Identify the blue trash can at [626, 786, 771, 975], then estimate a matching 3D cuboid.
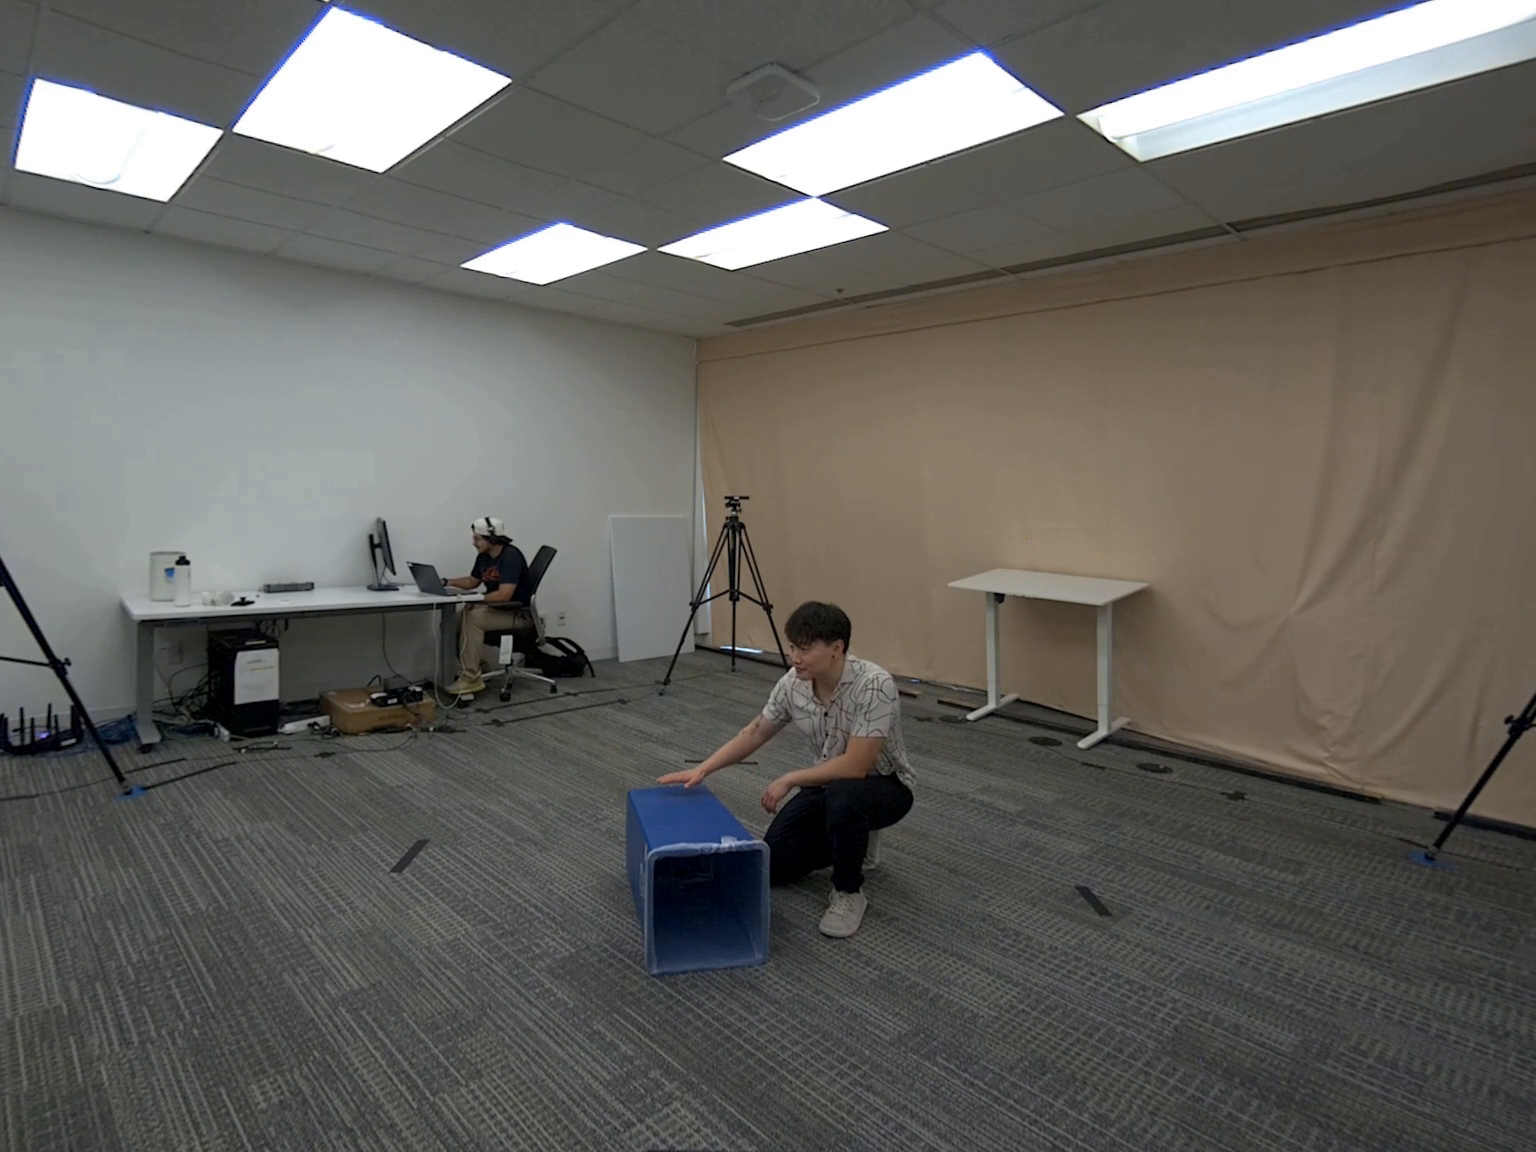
[{"bbox_3d":[-0.273,0.959,2.809,0.373,0.374,0.722,1,1,-16],"label":"blue trash can"}]
